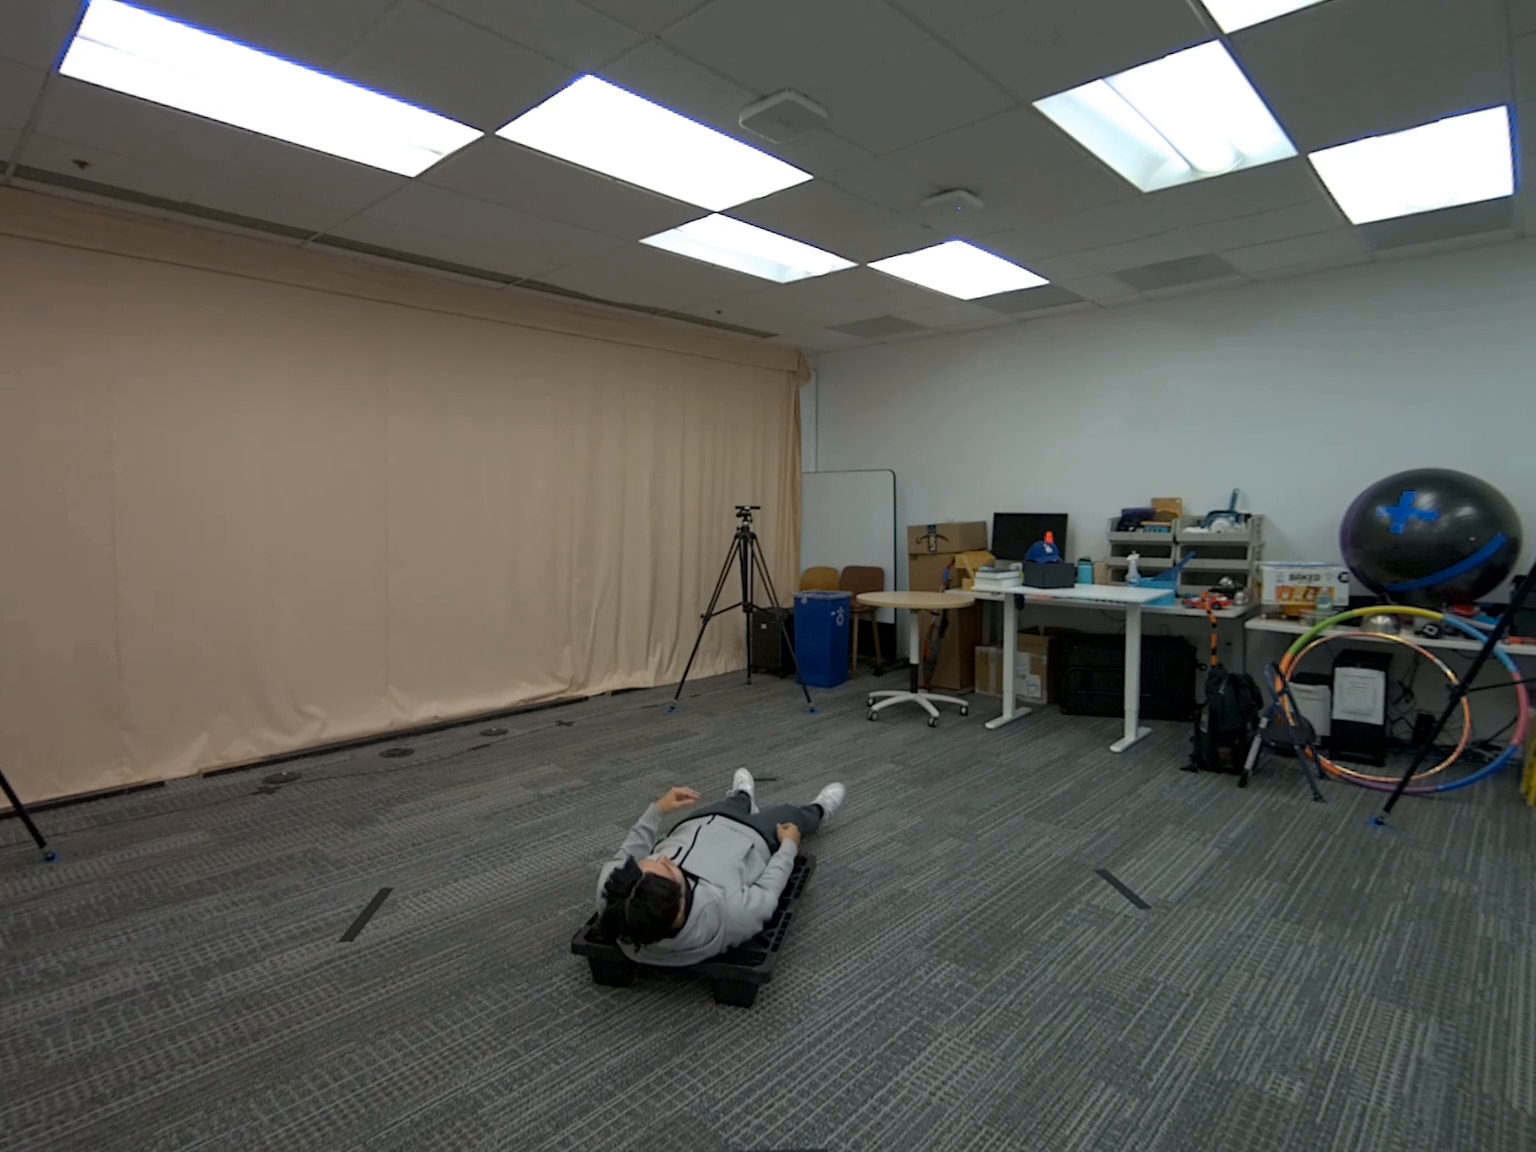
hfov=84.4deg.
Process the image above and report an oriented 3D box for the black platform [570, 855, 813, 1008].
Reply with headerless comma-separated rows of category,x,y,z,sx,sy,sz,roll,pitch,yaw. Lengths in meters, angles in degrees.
black platform,-0.196,1.083,2.742,0.616,0.143,0.795,3,7,15
